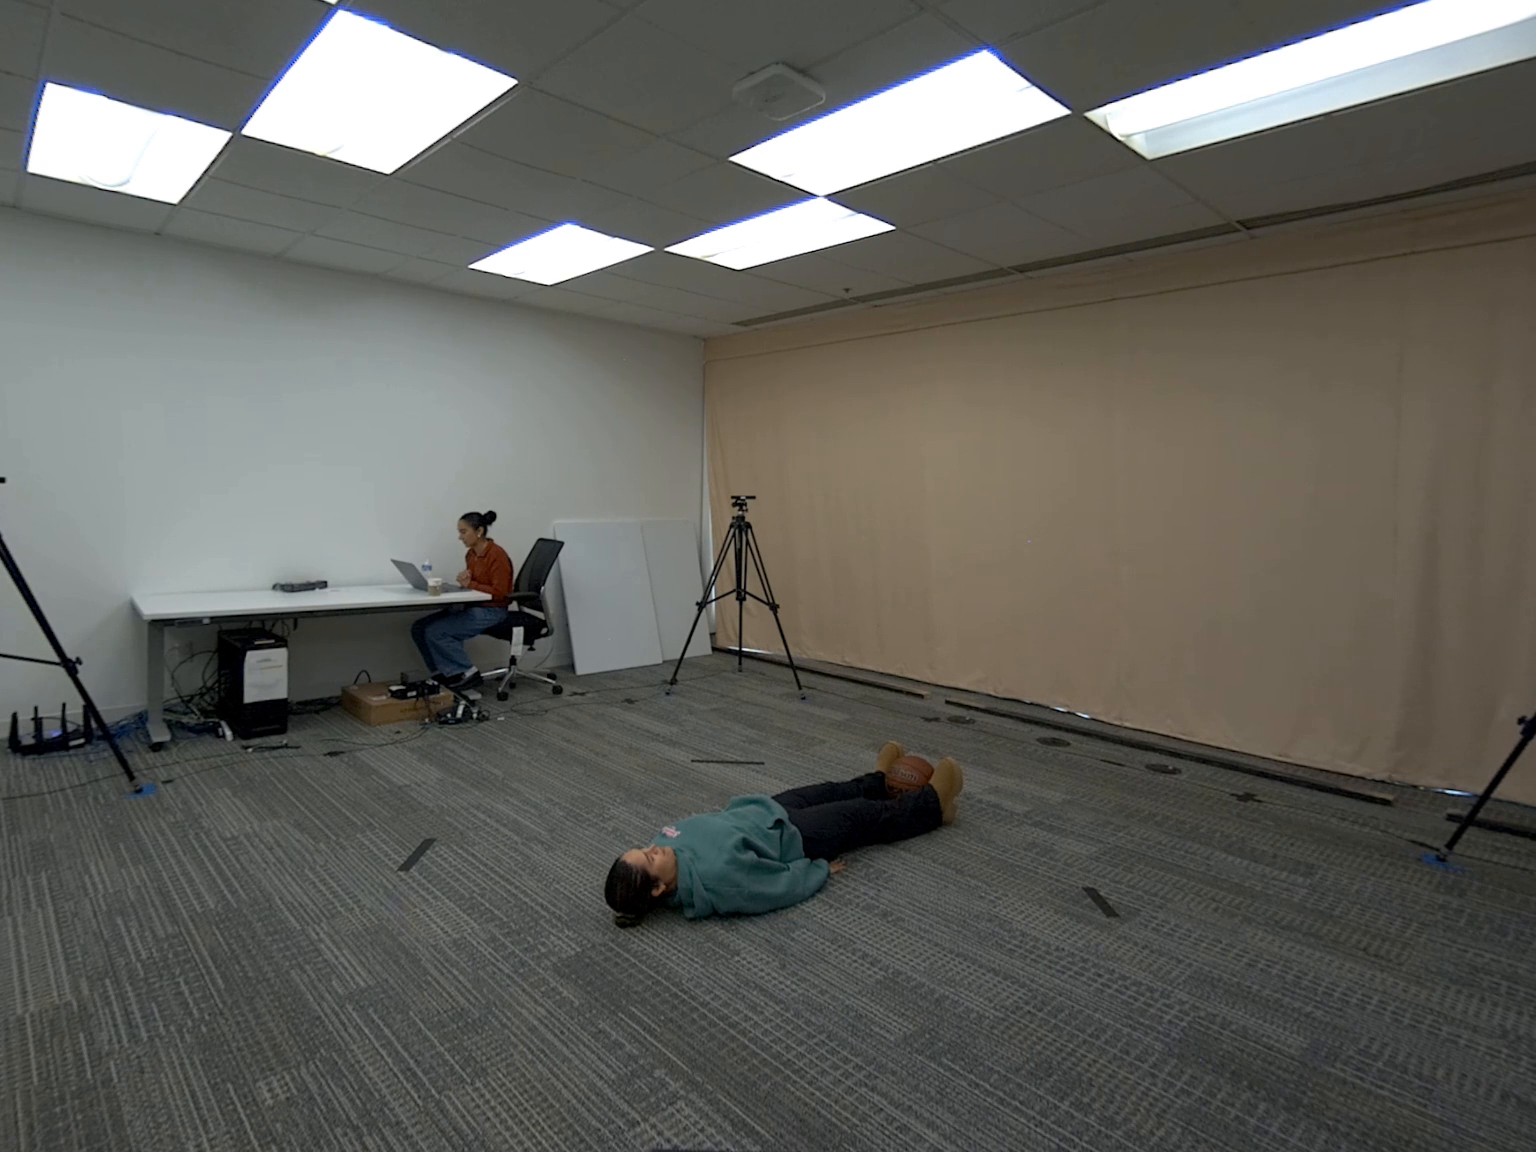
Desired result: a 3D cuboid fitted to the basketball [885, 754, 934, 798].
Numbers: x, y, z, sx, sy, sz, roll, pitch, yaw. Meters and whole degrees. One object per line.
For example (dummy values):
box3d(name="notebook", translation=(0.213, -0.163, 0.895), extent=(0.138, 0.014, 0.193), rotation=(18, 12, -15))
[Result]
box3d(name="basketball", translation=(0.635, 0.922, 3.753), extent=(0.236, 0.235, 0.237), rotation=(1, 5, -1))
